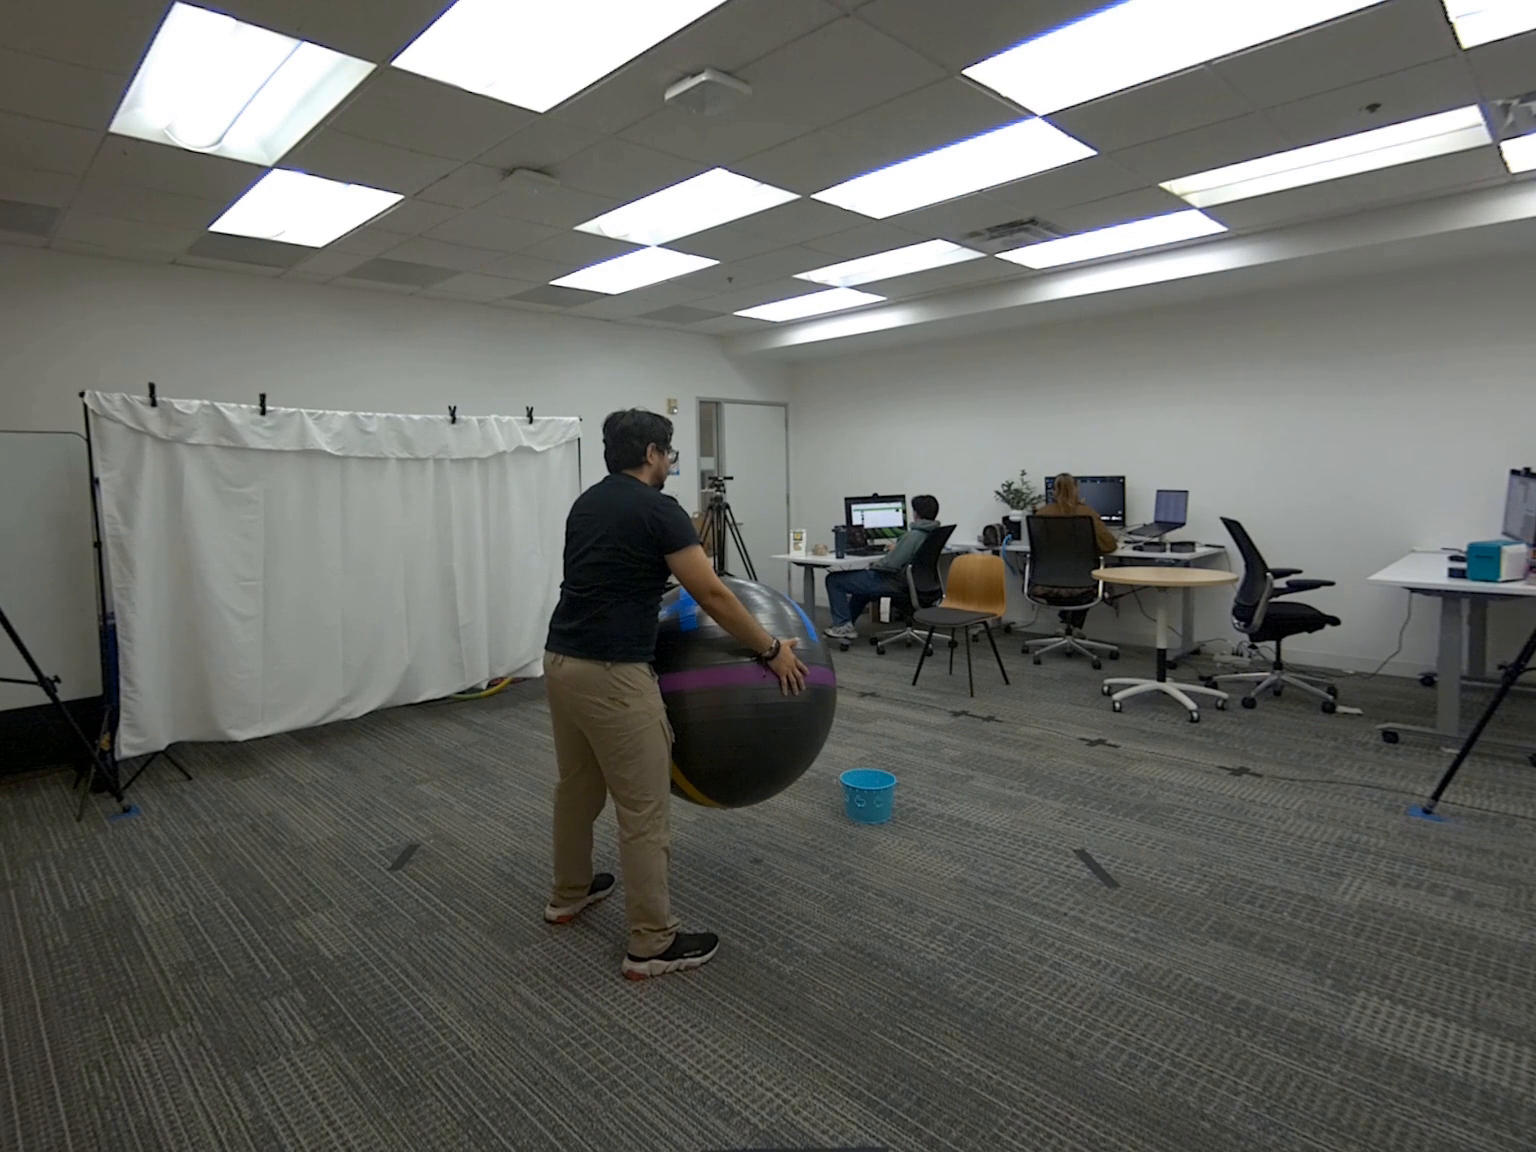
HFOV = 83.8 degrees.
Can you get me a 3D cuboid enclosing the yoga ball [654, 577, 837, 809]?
[{"bbox_3d":[-0.150,0.381,2.889,0.757,0.755,0.762,-1,5,-2],"label":"yoga ball"}]
